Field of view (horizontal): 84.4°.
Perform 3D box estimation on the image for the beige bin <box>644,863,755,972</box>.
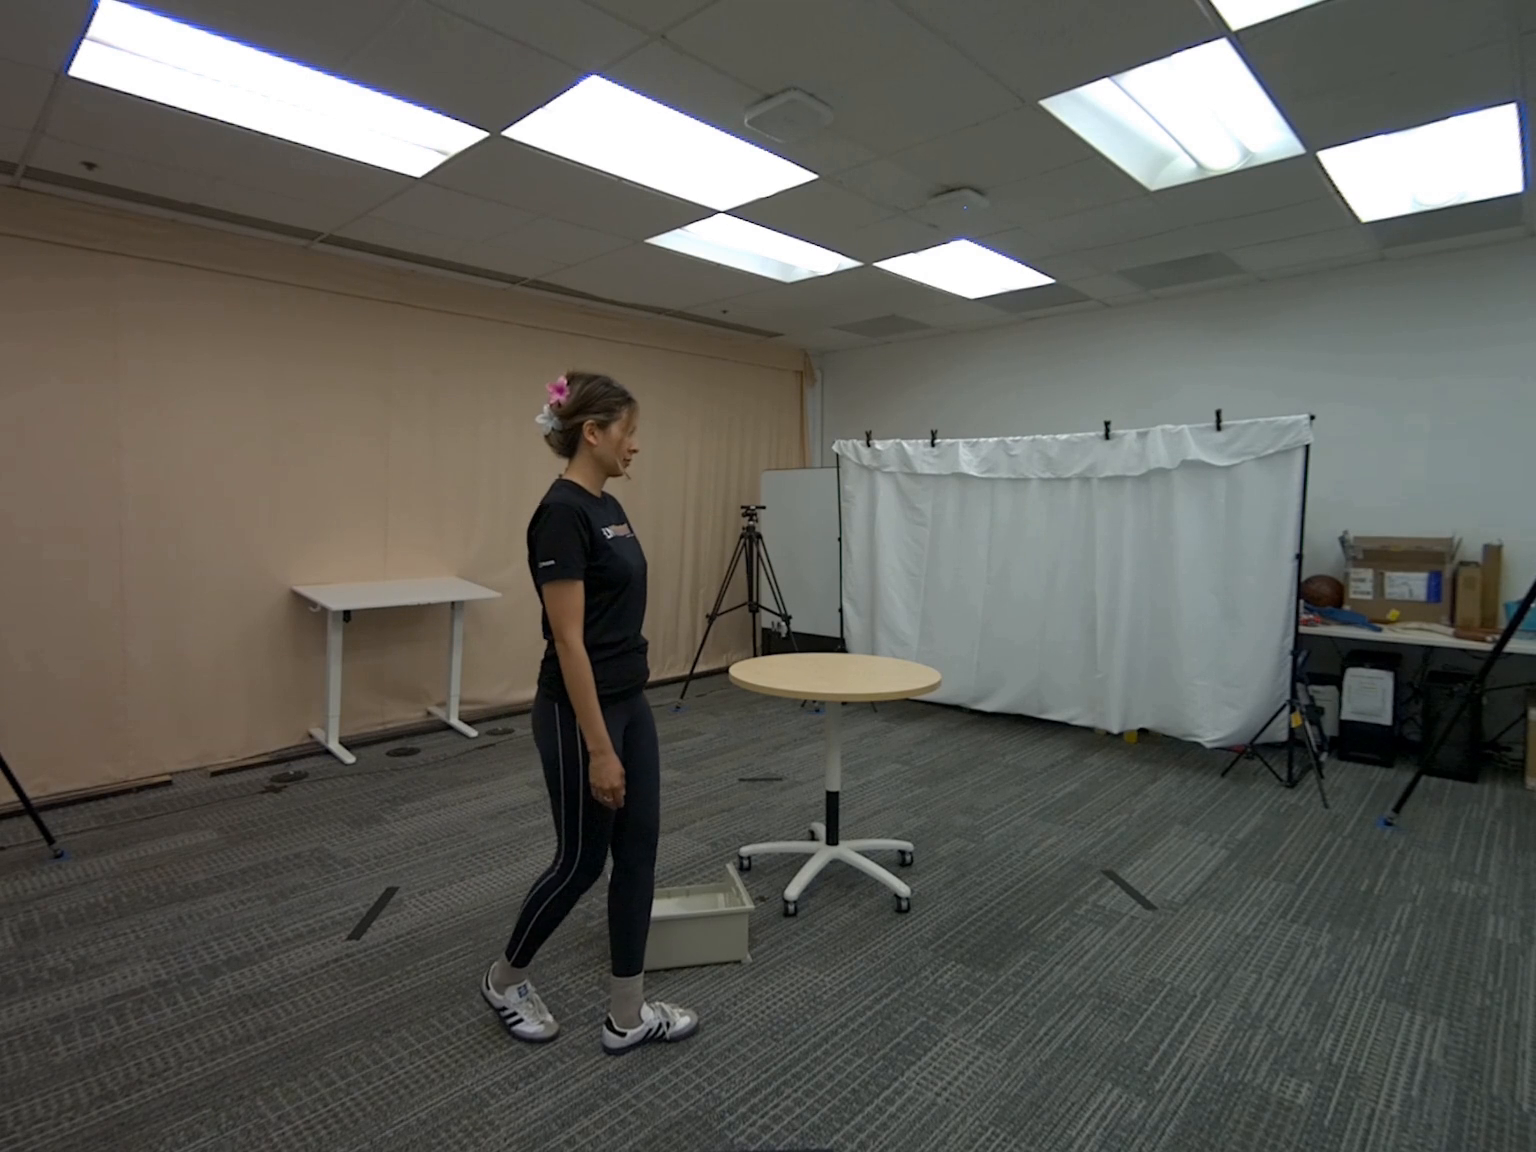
[{"bbox_3d":[-0.290,1.086,2.693,0.416,0.188,0.383,-1,5,-14],"label":"beige bin"}]
